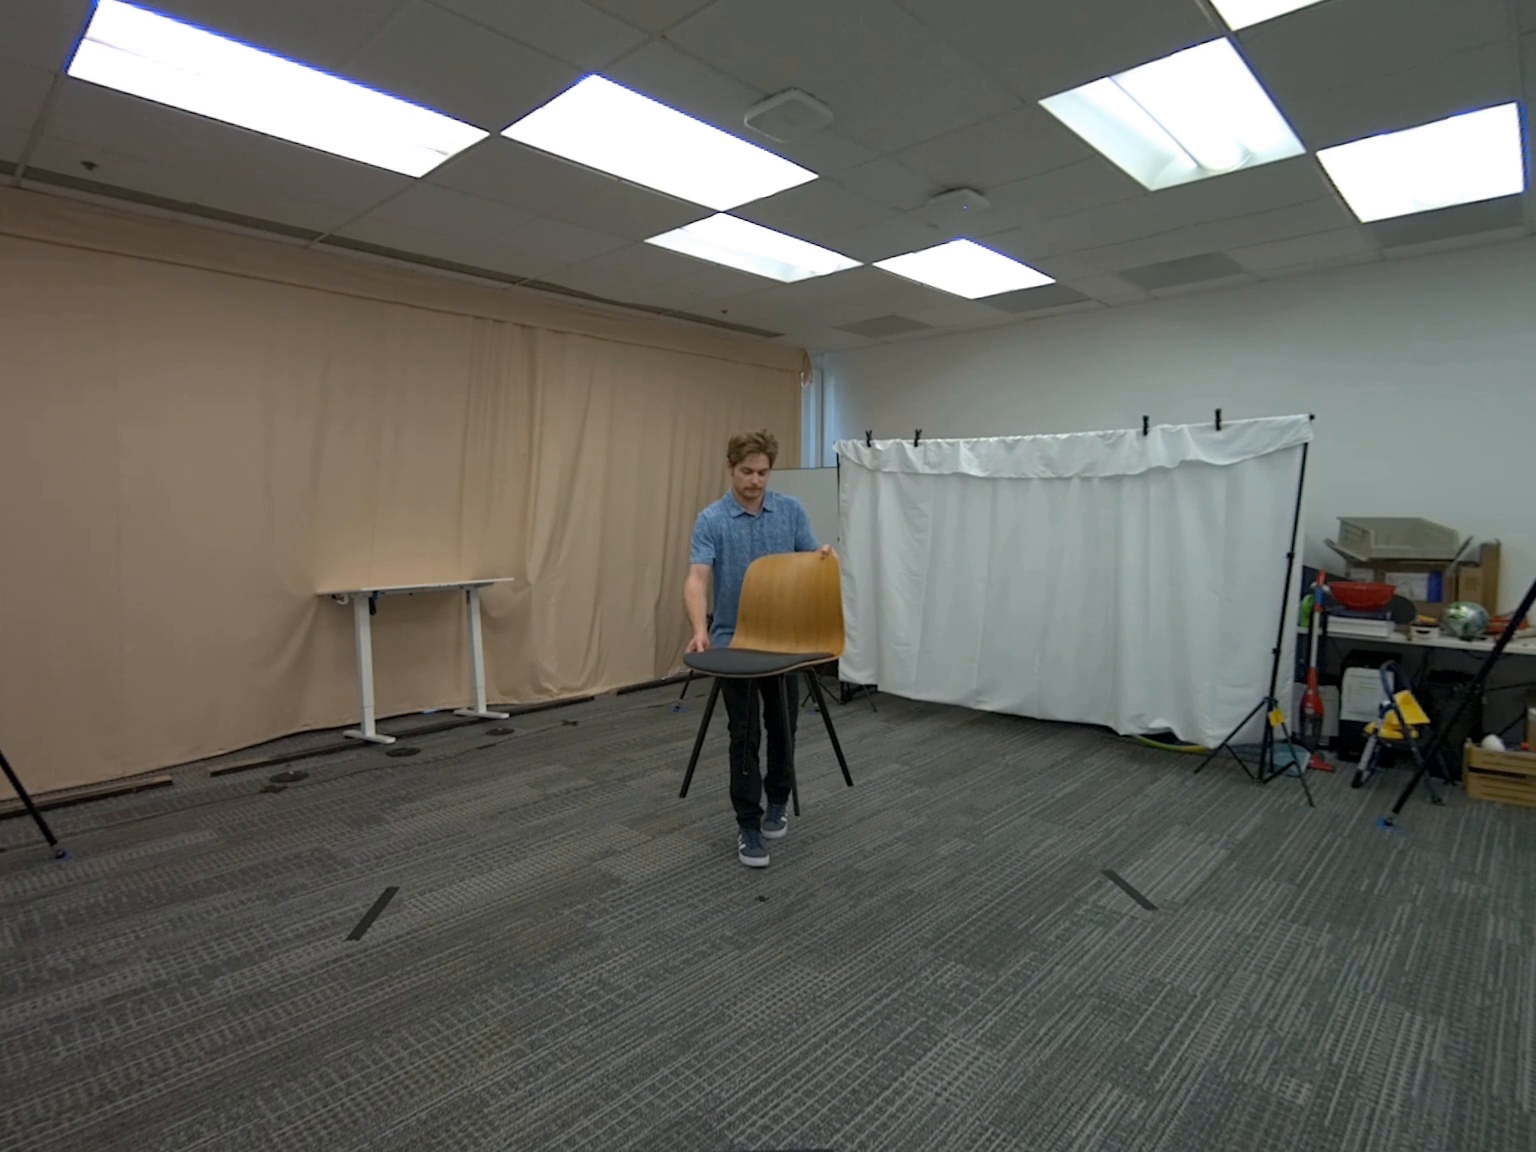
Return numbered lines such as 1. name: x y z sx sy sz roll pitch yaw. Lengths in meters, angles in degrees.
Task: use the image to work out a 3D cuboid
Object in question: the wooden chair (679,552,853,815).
1. wooden chair: 0.006 0.329 2.946 0.492 0.880 0.507 -1 -5 30
